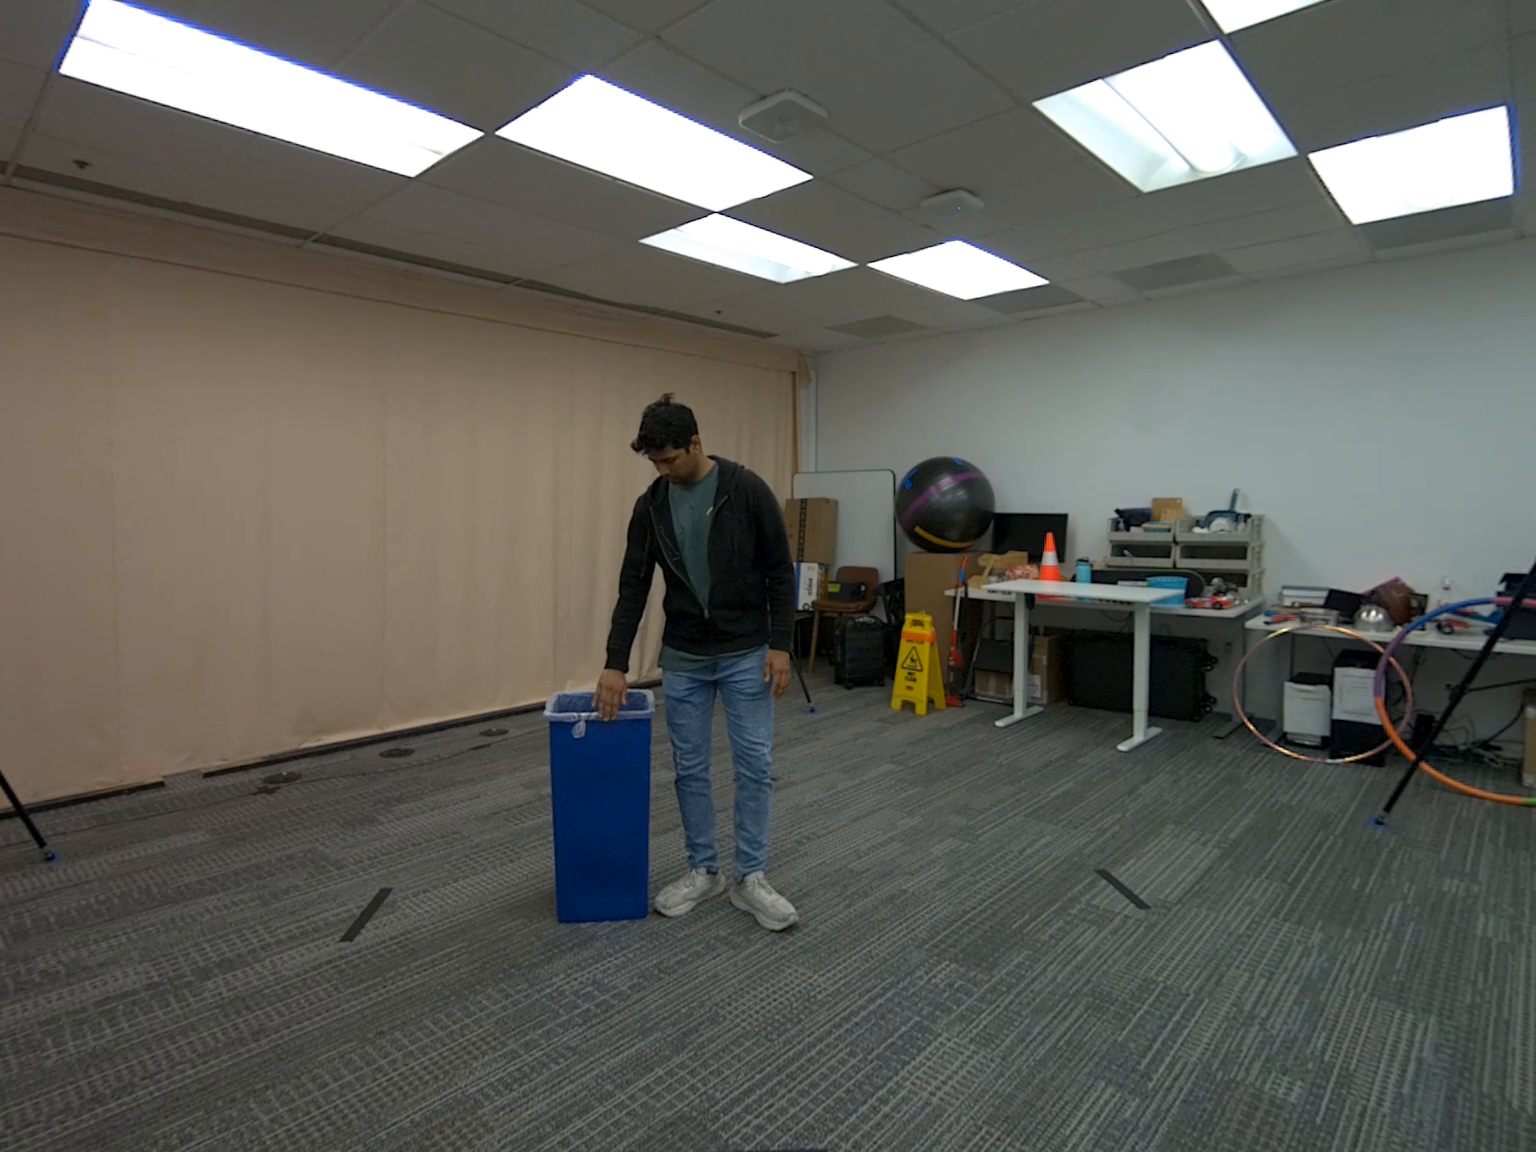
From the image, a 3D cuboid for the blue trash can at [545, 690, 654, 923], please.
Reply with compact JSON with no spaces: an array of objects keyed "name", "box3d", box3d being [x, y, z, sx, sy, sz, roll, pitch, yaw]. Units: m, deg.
[{"name":"blue trash can","box3d":[-0.578,0.793,2.968,0.371,0.713,0.382,-1,2,-9]}]
